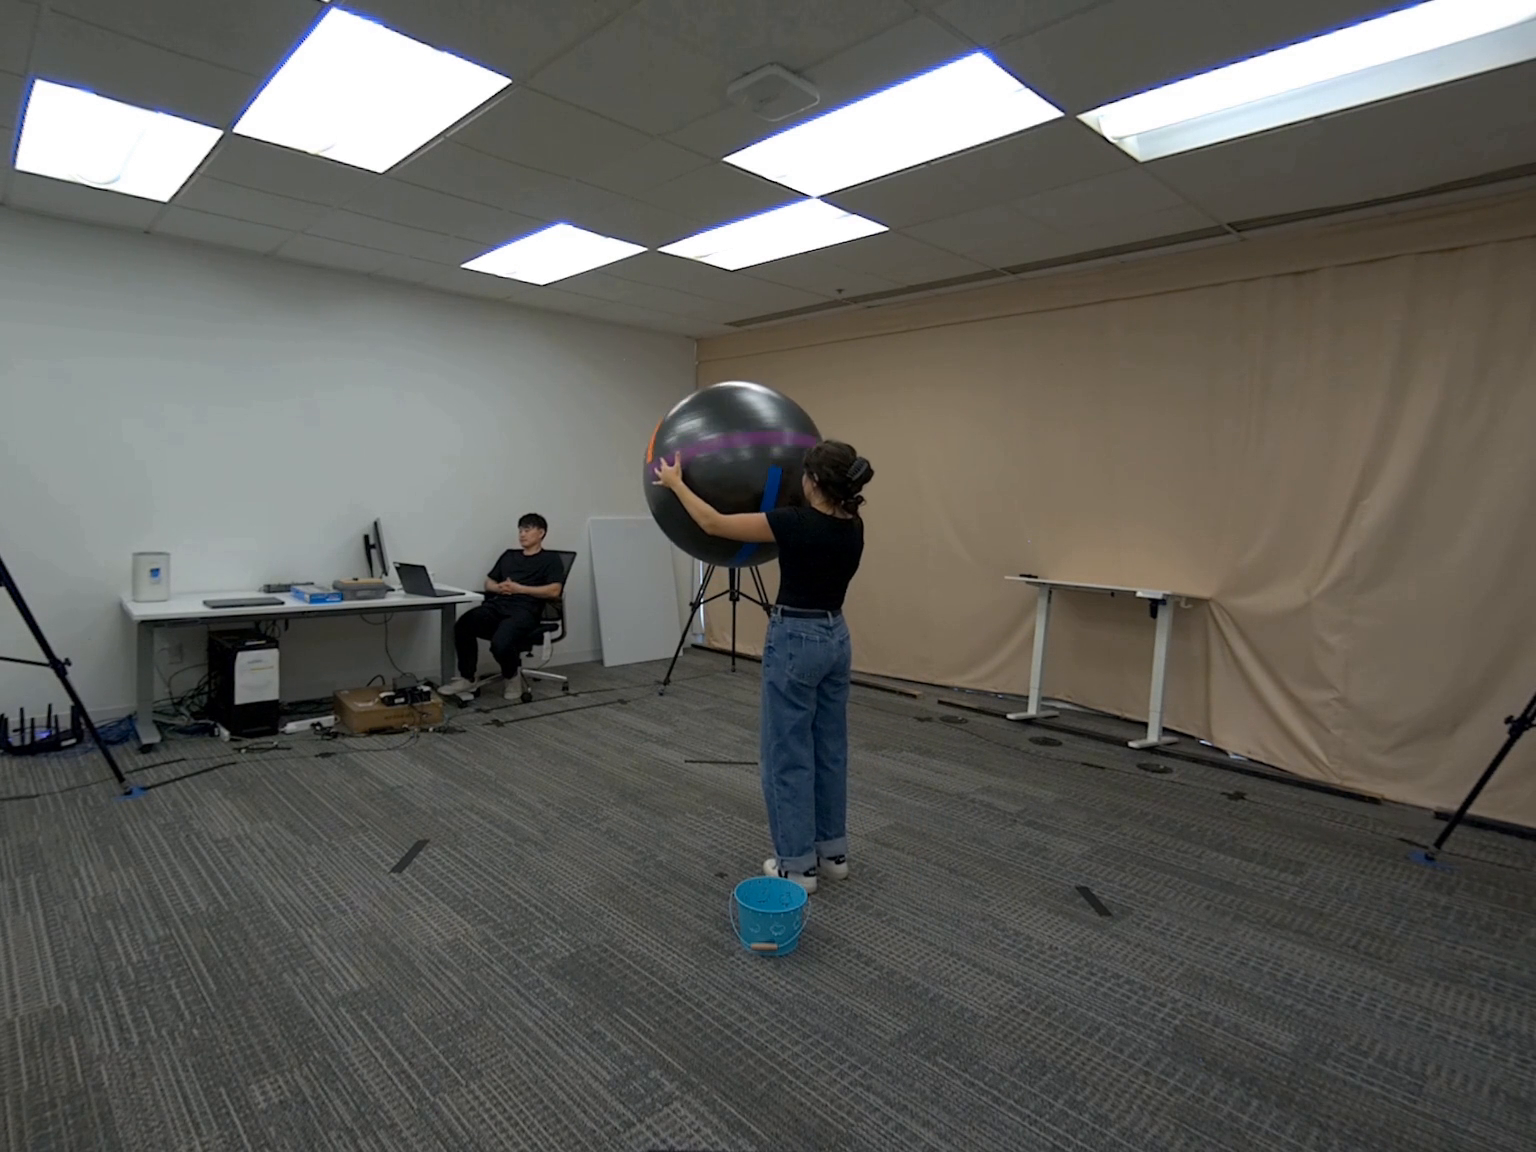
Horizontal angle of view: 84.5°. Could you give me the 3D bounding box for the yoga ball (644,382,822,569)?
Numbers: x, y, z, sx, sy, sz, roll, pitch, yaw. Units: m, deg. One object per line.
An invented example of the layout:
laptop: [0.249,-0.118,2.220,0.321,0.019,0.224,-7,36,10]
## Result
yoga ball: [-0.143,-0.400,3.455,0.757,0.756,0.761,1,4,-1]
